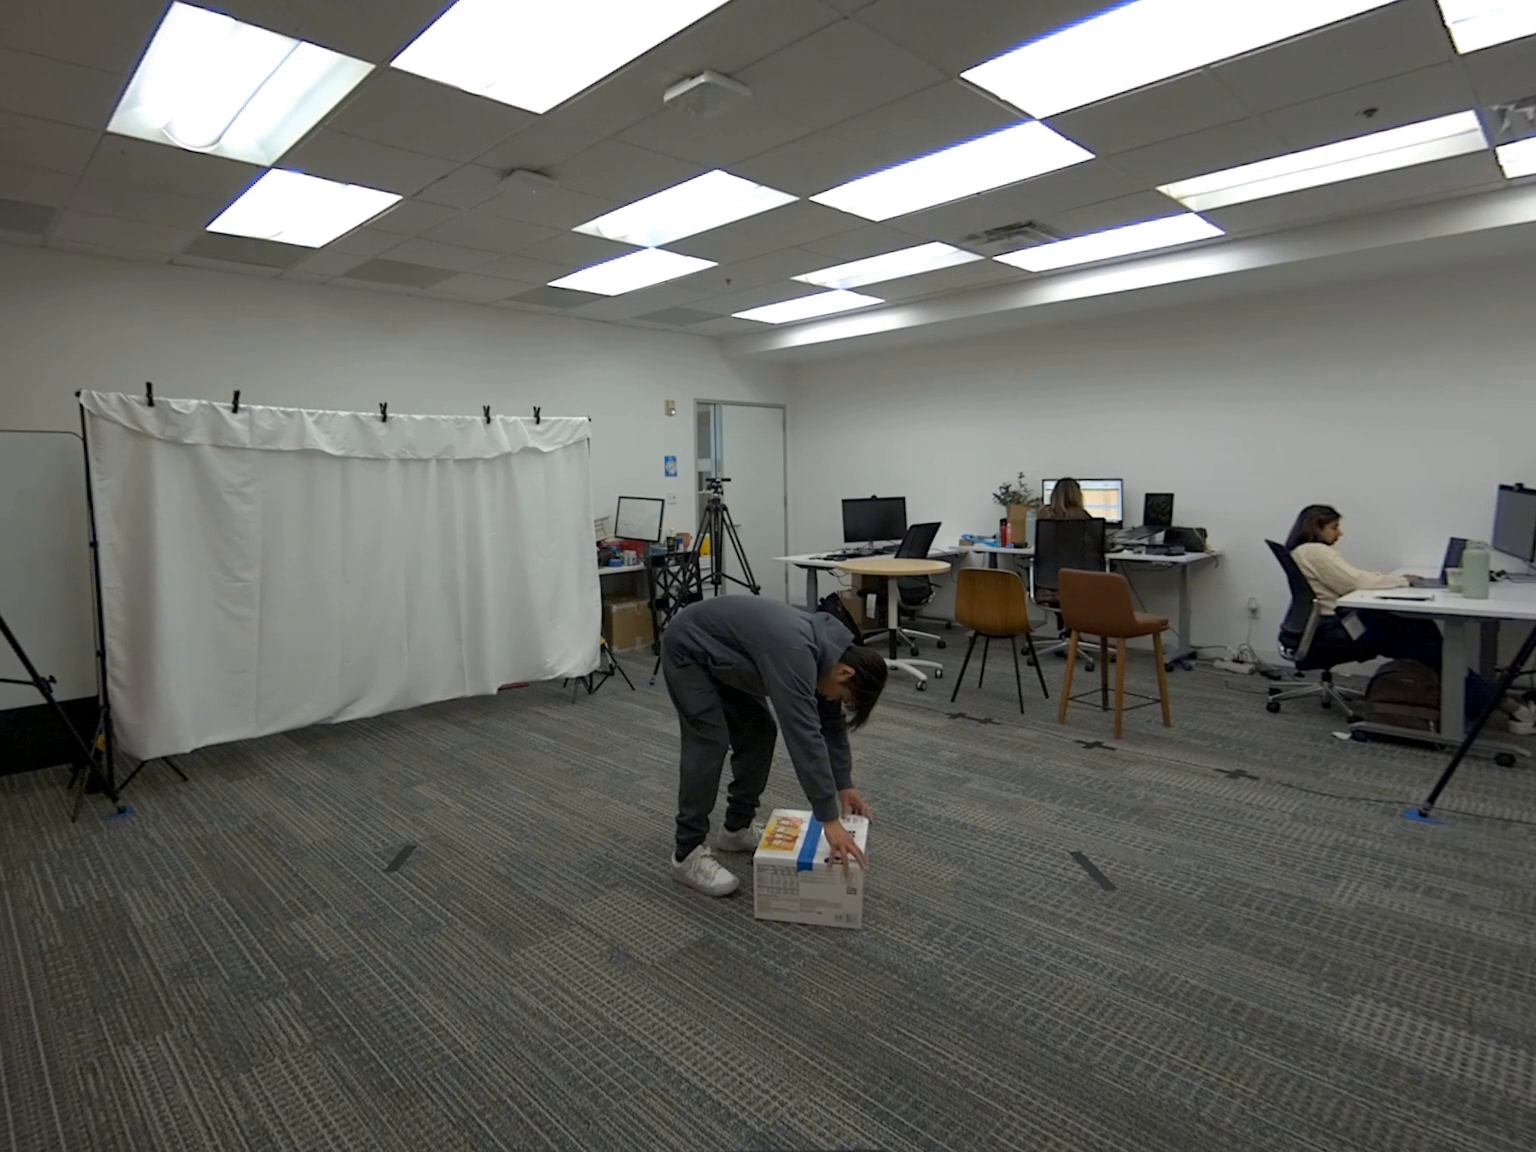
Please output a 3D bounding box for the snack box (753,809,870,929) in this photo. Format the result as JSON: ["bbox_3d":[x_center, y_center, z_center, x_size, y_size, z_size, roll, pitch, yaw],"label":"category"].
[{"bbox_3d":[0.160,0.968,2.854,0.344,0.205,0.402,0,6,11],"label":"snack box"}]
